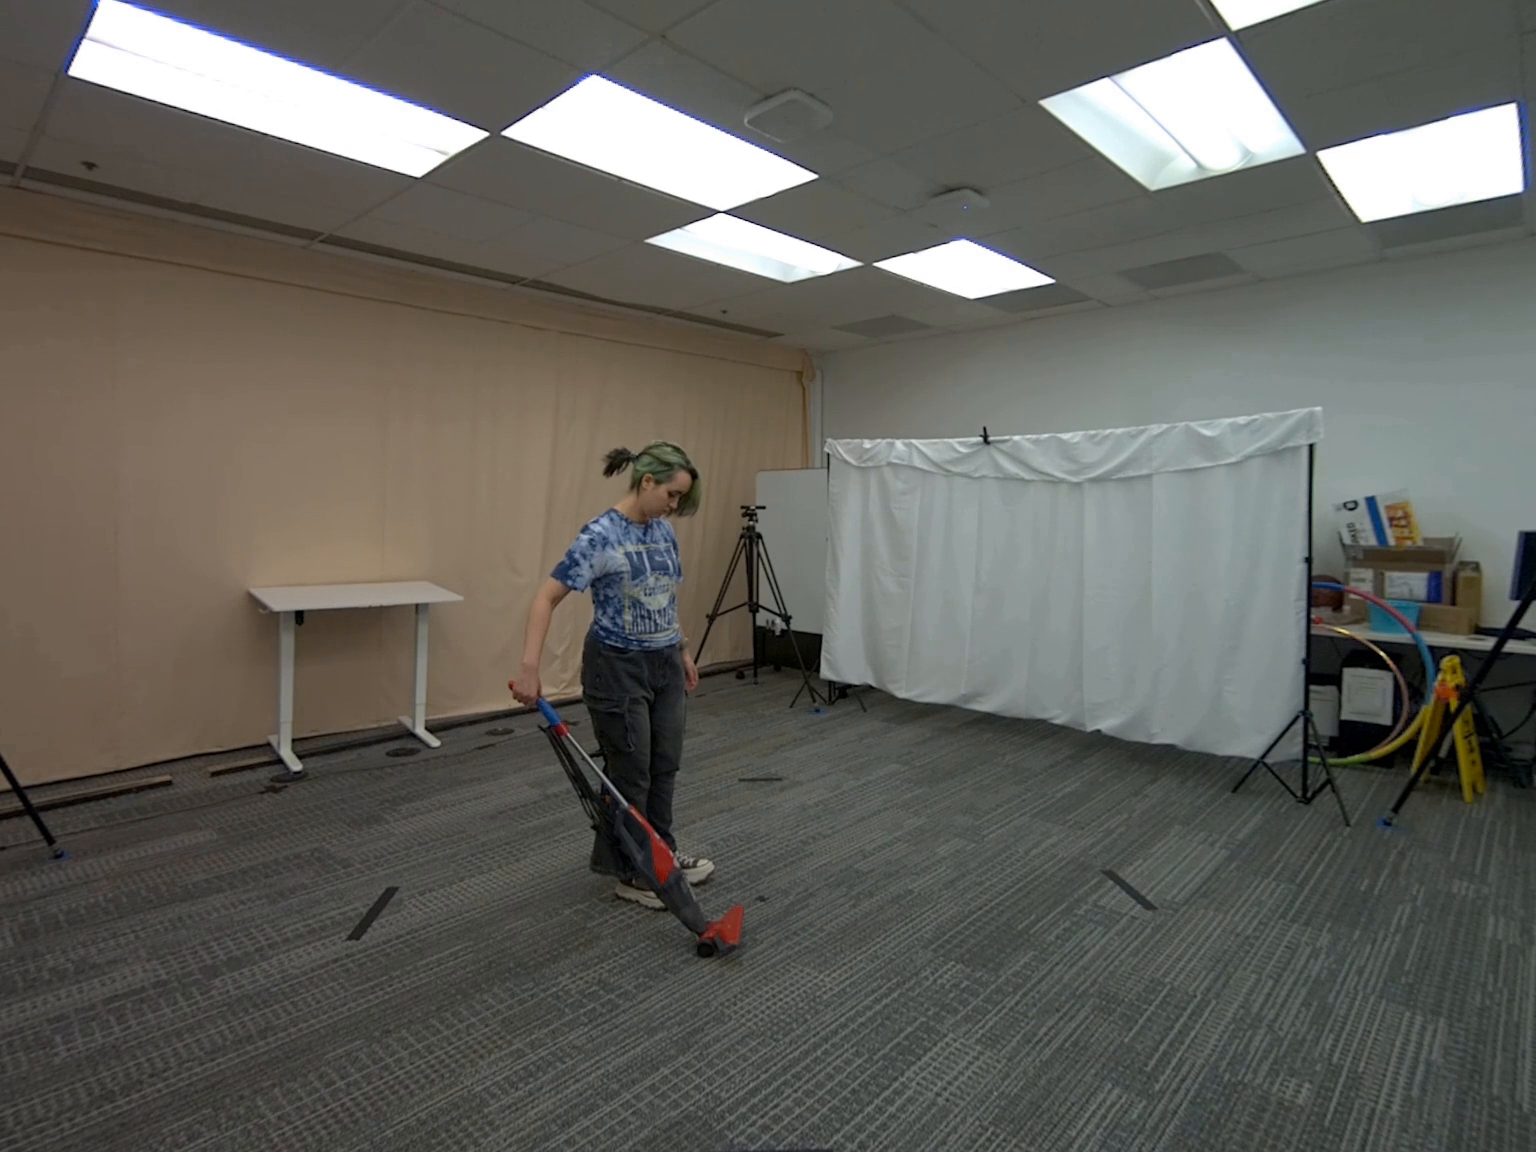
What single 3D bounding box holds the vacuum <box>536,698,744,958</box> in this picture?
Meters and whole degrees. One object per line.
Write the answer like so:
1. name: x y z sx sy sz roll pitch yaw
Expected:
1. vacuum: -0.480 0.758 2.662 0.144 1.051 0.251 -42 -1 5
